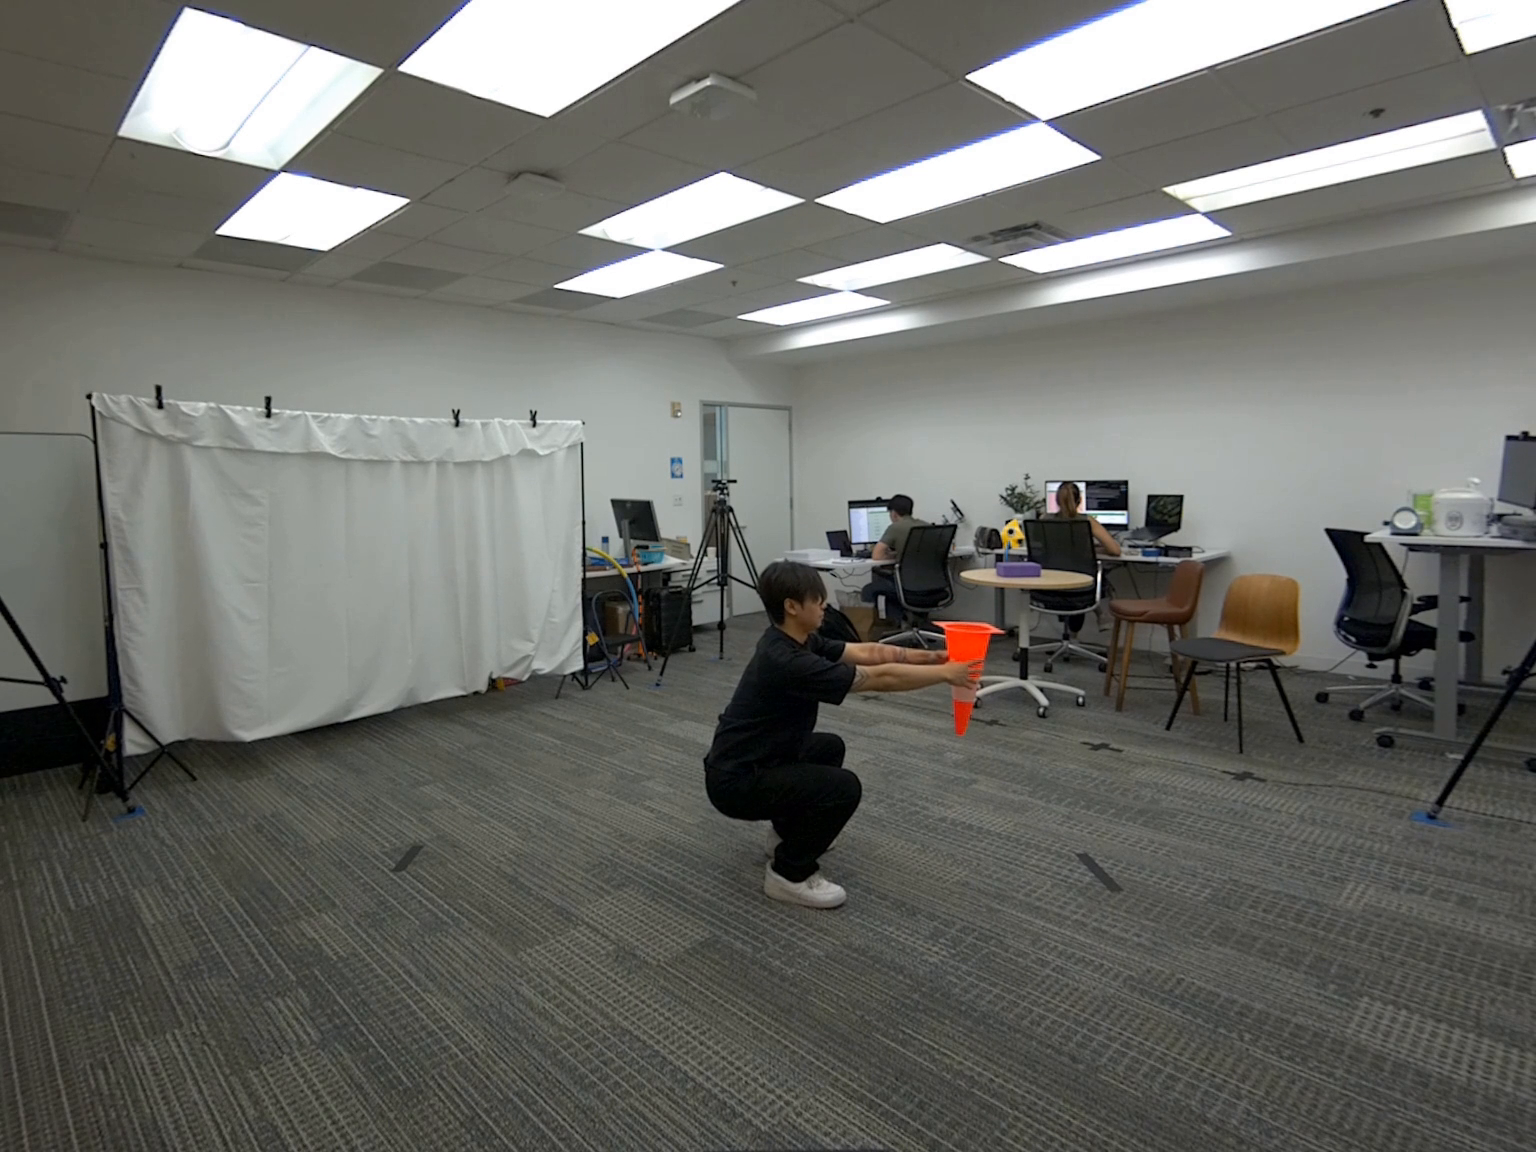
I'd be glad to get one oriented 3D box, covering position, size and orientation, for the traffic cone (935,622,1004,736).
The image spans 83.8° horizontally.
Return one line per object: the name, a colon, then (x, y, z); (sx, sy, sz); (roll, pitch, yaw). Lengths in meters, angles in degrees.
traffic cone: (0.693, 0.365, 2.972); (0.202, 0.383, 0.206); (2, 3, -6)
